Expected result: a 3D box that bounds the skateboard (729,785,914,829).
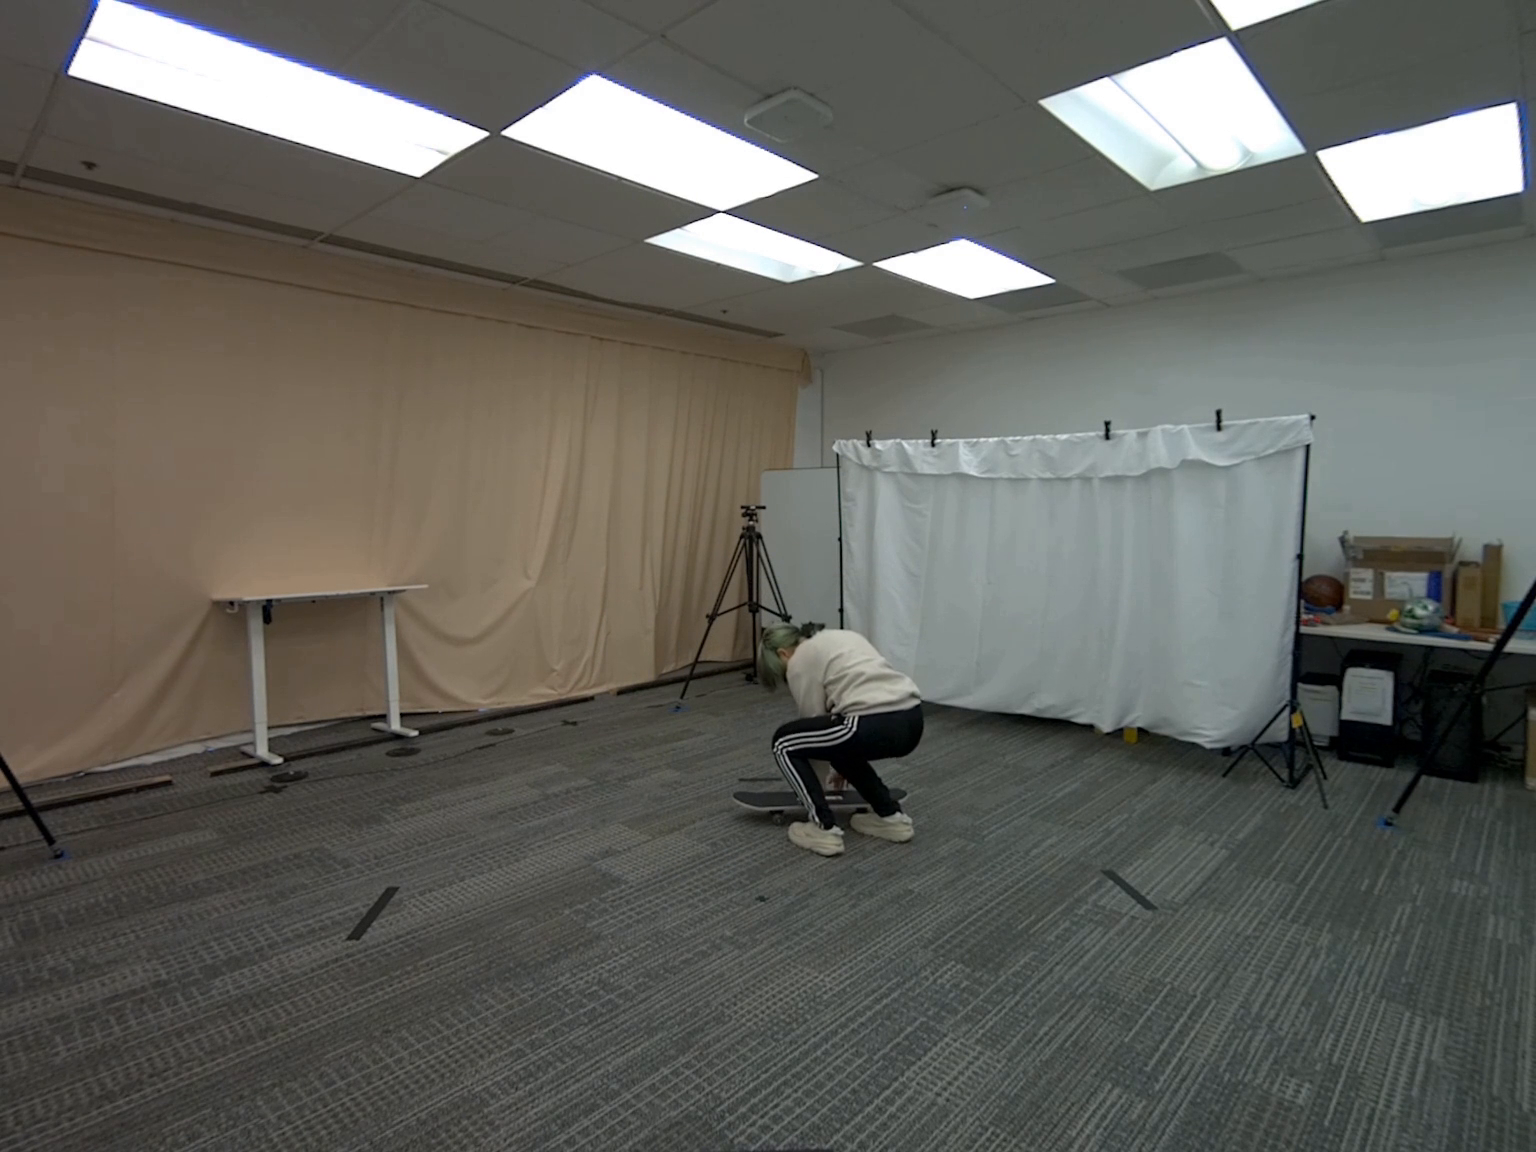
[{"bbox_3d":[0.227,1.019,3.758,0.782,0.110,0.194,0,3,-4],"label":"skateboard"}]
